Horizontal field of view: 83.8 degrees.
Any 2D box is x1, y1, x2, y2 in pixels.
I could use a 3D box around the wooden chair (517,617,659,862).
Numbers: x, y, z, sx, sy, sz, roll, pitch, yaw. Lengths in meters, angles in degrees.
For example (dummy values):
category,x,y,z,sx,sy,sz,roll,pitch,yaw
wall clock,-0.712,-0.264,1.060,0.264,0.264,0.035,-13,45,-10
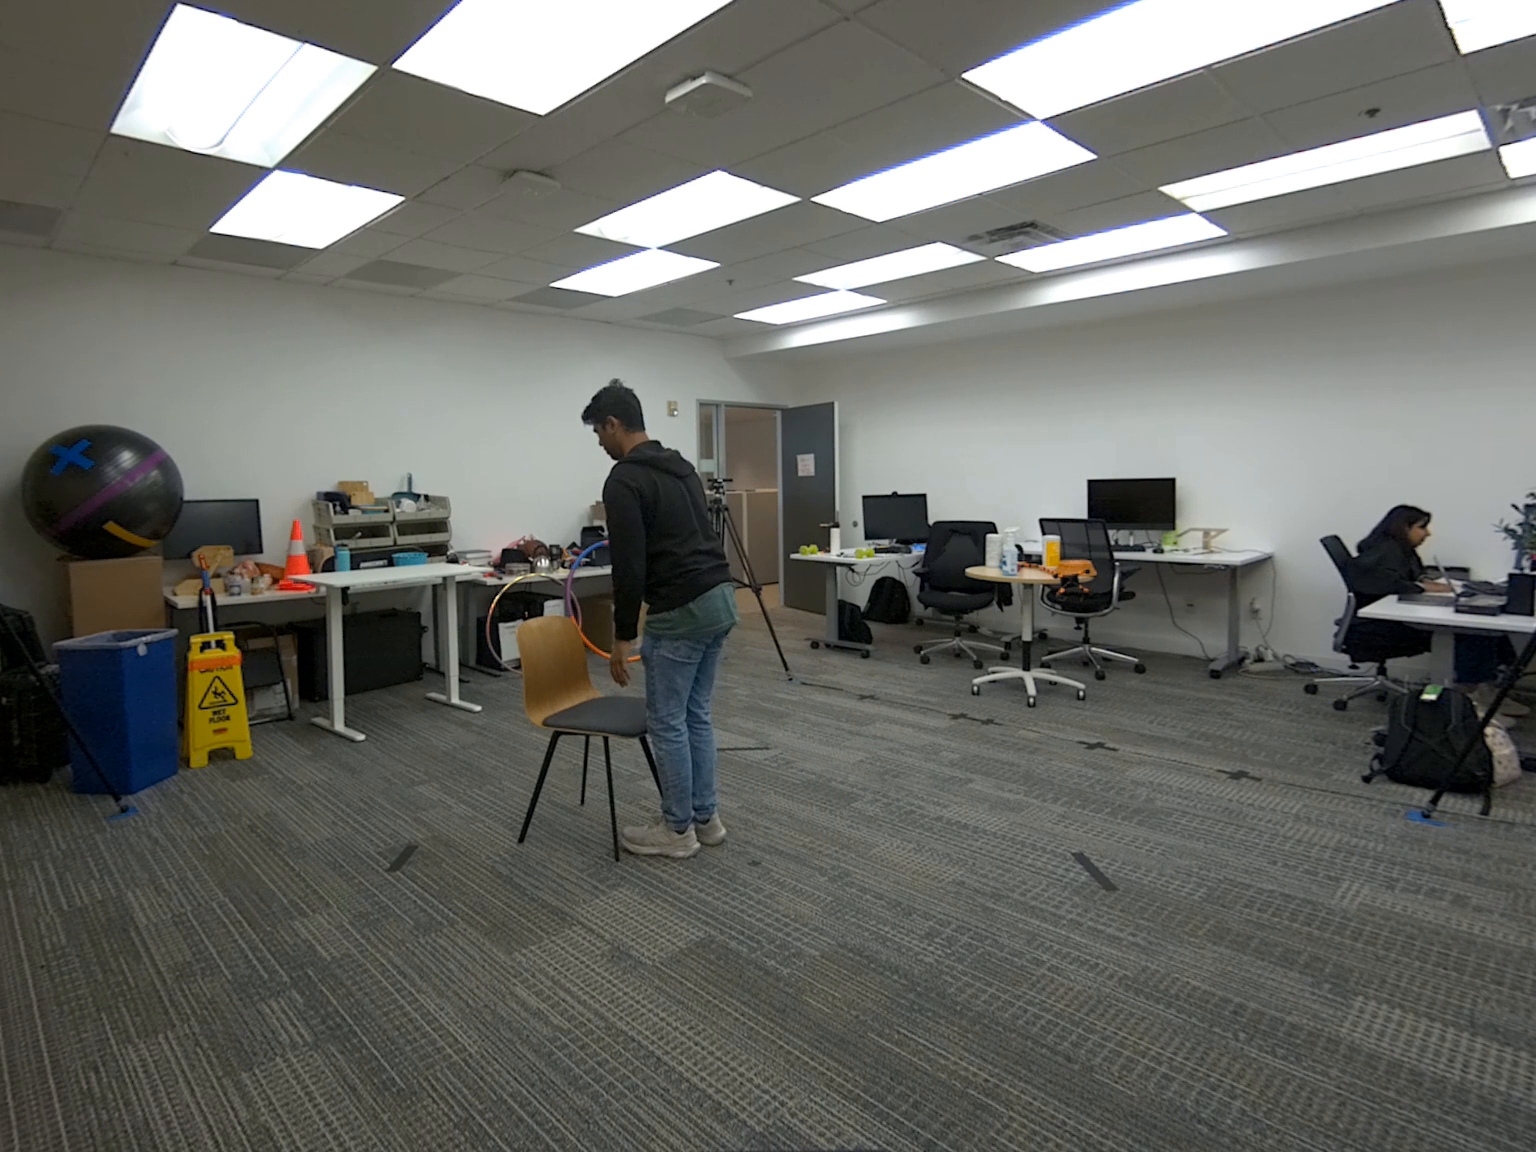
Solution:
category,x,y,z,sx,sy,sz,roll,pitch,yaw
wooden chair,-0.680,0.593,3.395,0.534,0.876,0.469,-4,2,23
